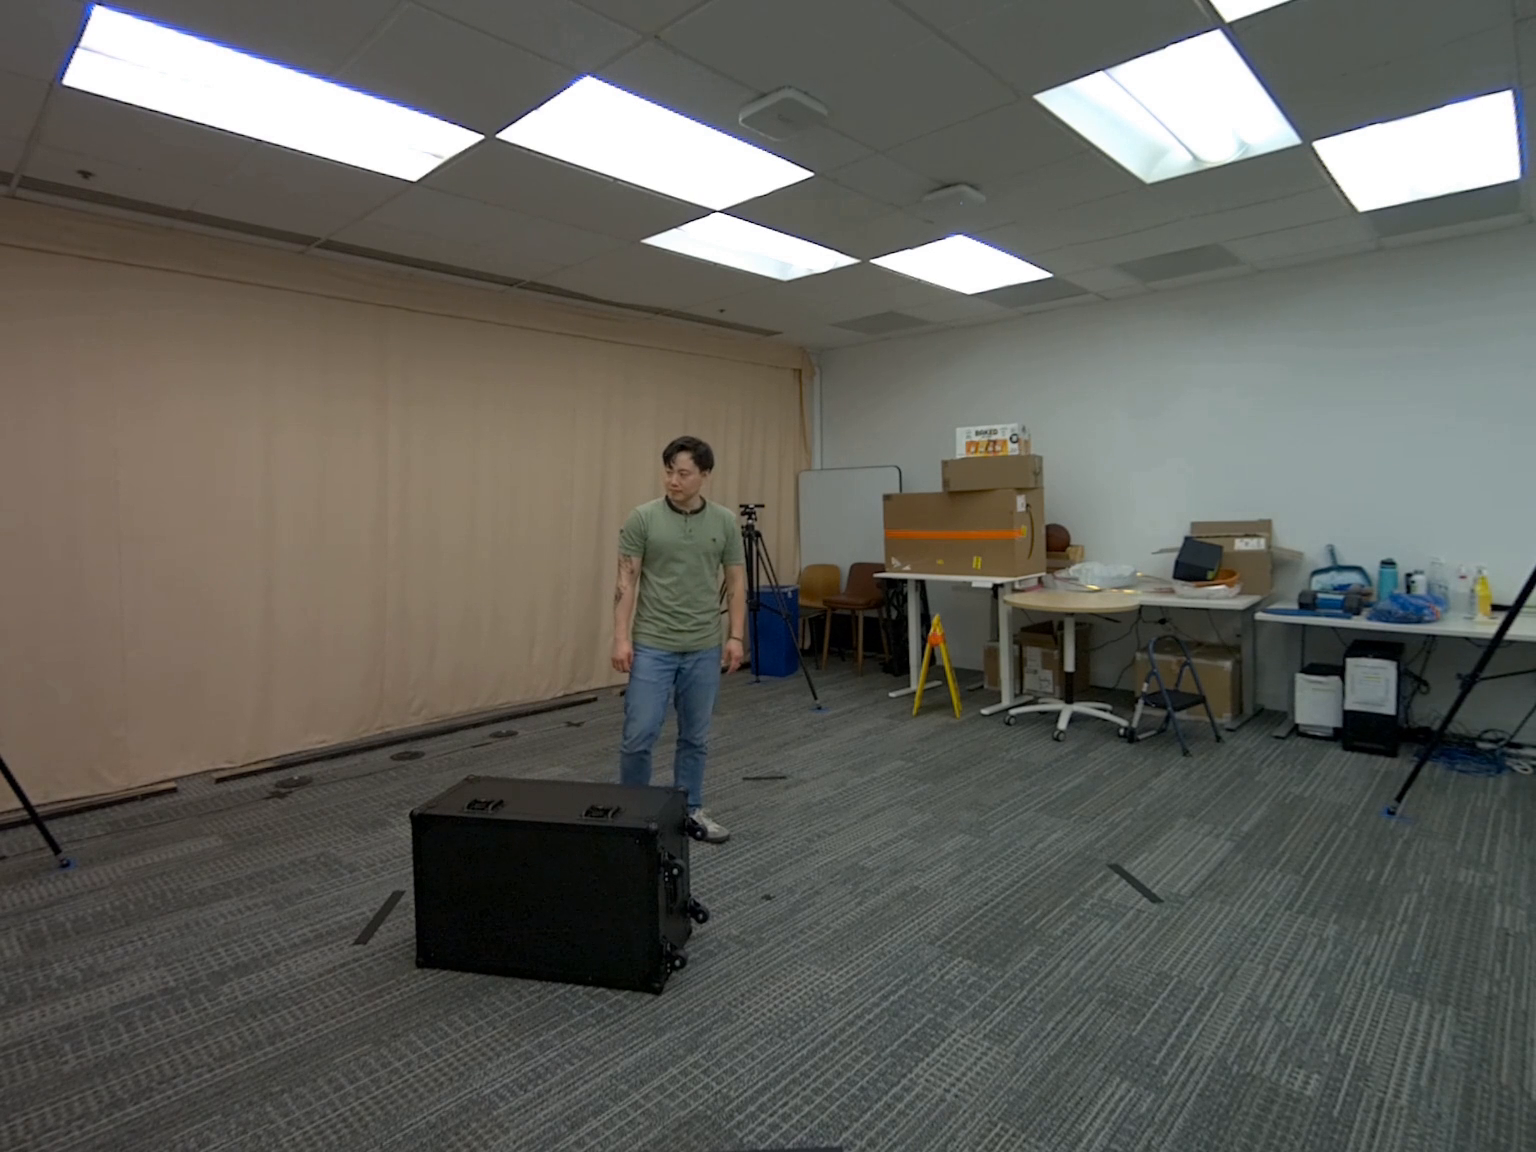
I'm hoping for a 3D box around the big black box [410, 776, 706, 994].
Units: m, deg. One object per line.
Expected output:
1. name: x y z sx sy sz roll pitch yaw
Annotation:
1. big black box: -0.690 0.932 2.661 0.872 0.520 0.392 0 3 11
